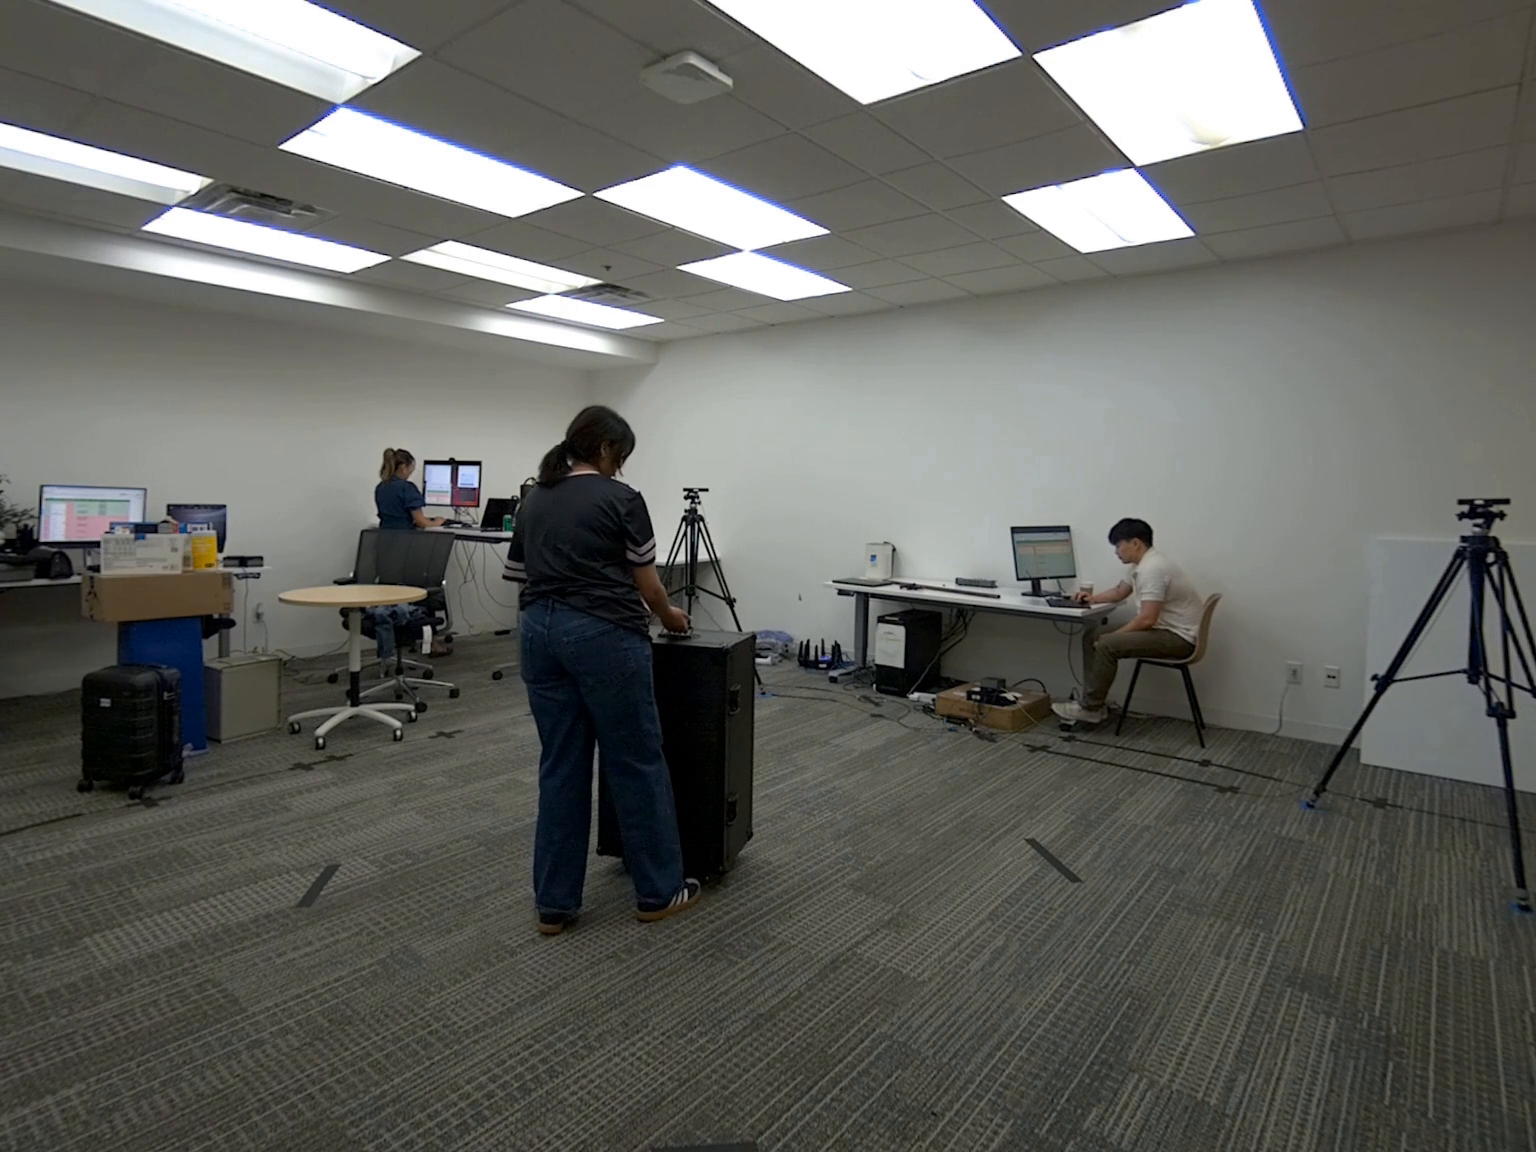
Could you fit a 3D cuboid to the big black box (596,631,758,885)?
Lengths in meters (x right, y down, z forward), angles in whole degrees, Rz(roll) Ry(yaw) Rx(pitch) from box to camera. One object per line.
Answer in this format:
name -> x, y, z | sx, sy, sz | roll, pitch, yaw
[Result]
big black box -> -0.339, 0.642, 3.141 | 0.531, 0.860, 0.390 | 2, 3, 17
